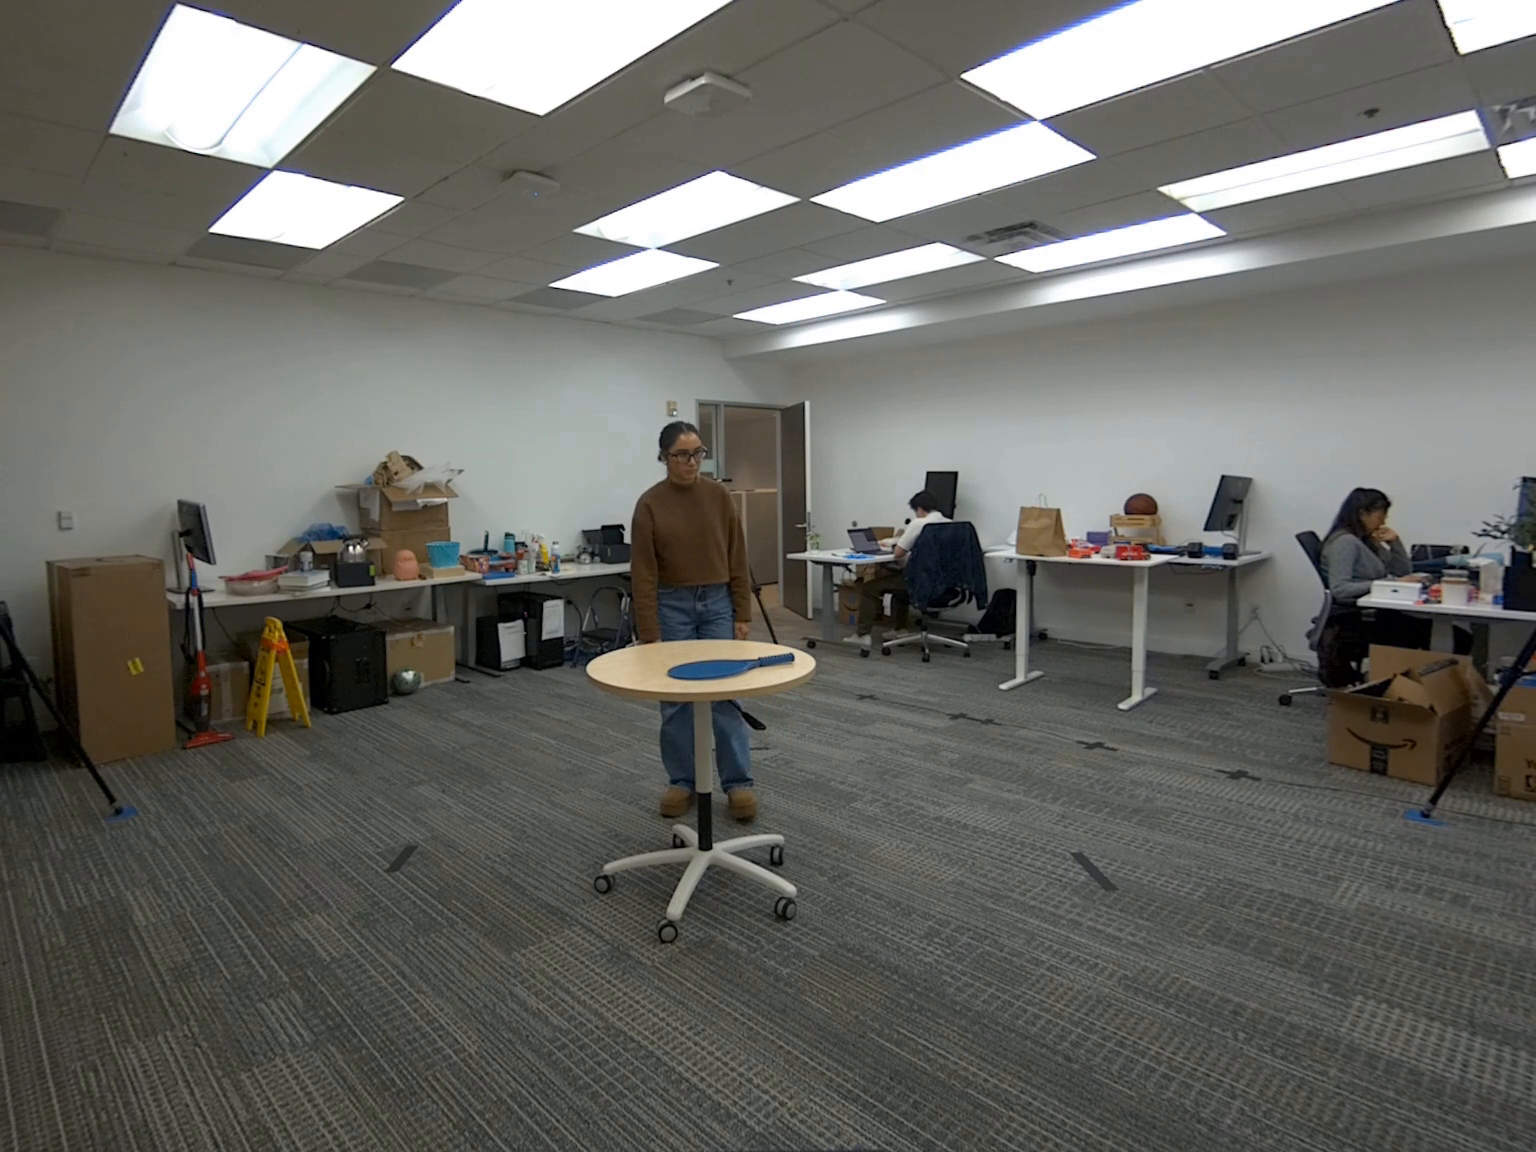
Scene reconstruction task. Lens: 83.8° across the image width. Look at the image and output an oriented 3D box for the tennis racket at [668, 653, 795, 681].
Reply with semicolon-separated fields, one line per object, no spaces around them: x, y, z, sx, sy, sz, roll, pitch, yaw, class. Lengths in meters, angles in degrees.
-0.125;0.293;2.770;0.425;0.031;0.219;-7;9;-23;tennis racket
